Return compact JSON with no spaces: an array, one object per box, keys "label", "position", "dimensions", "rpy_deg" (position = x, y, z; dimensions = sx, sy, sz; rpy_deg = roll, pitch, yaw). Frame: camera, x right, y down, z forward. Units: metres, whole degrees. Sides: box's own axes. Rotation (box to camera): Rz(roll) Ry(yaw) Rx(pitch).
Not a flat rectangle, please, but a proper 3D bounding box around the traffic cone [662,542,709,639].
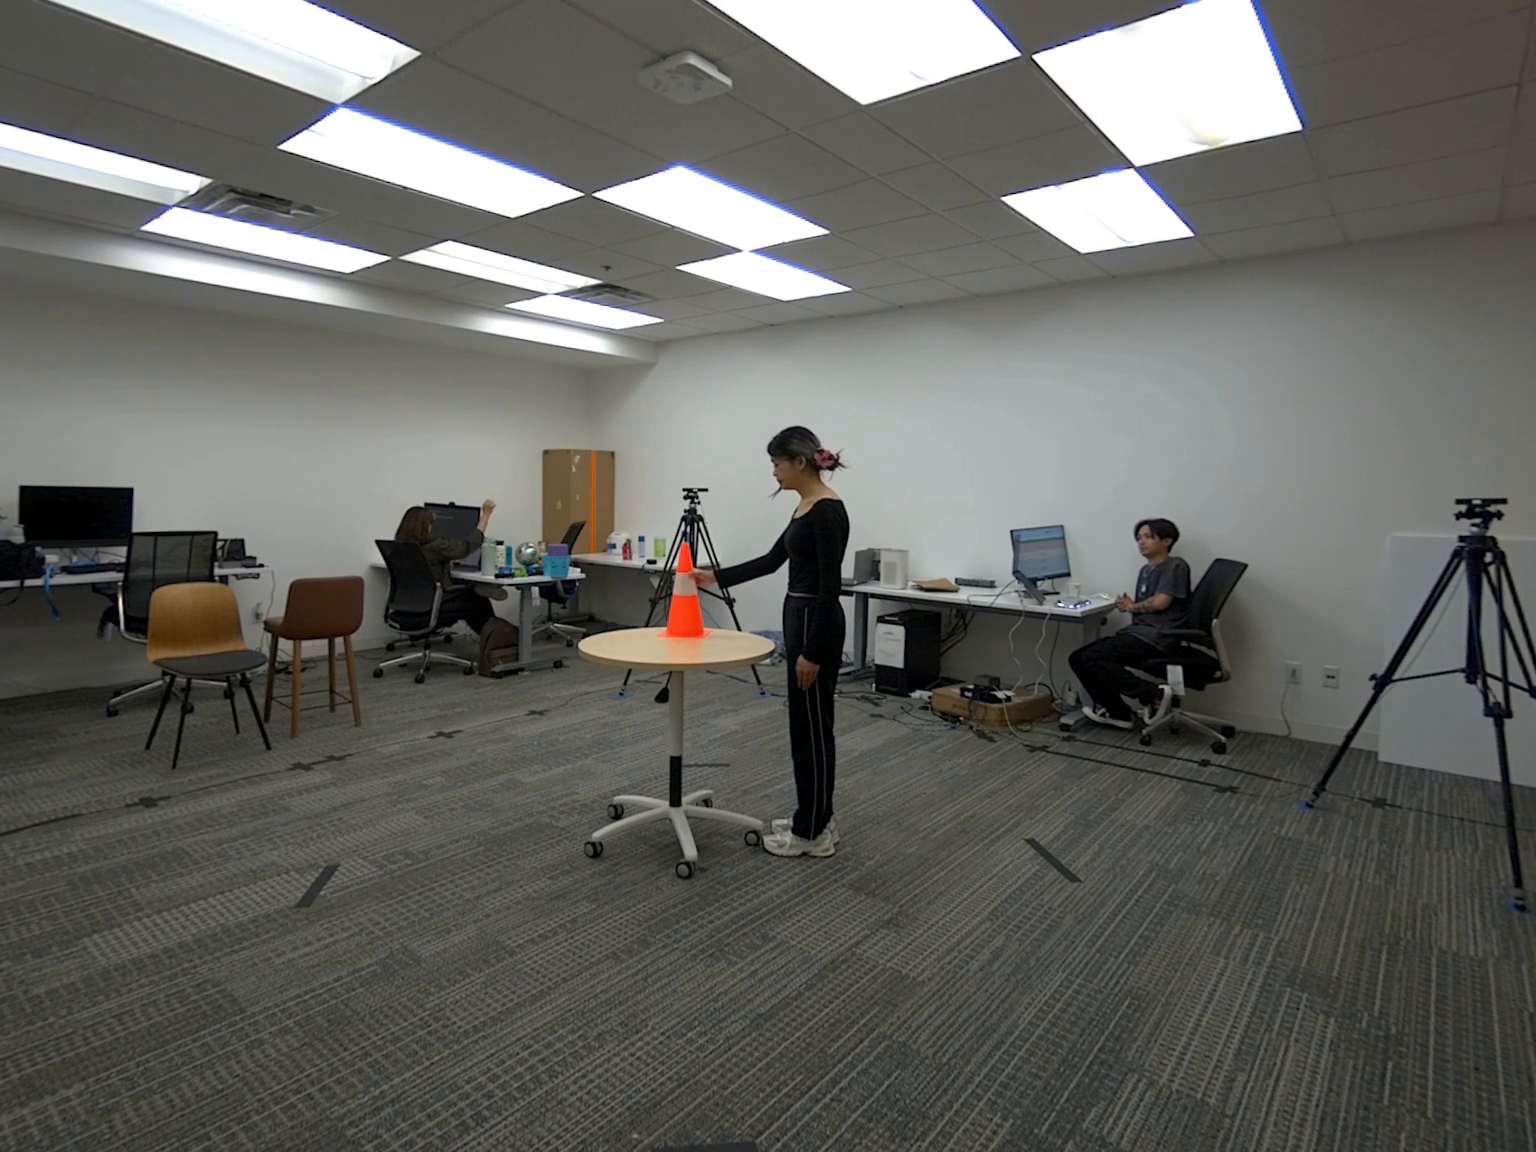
[{"label":"traffic cone","position":[-0.353,0.051,3.548],"dimensions":[0.204,0.383,0.205],"rpy_deg":[3,3,1]}]
